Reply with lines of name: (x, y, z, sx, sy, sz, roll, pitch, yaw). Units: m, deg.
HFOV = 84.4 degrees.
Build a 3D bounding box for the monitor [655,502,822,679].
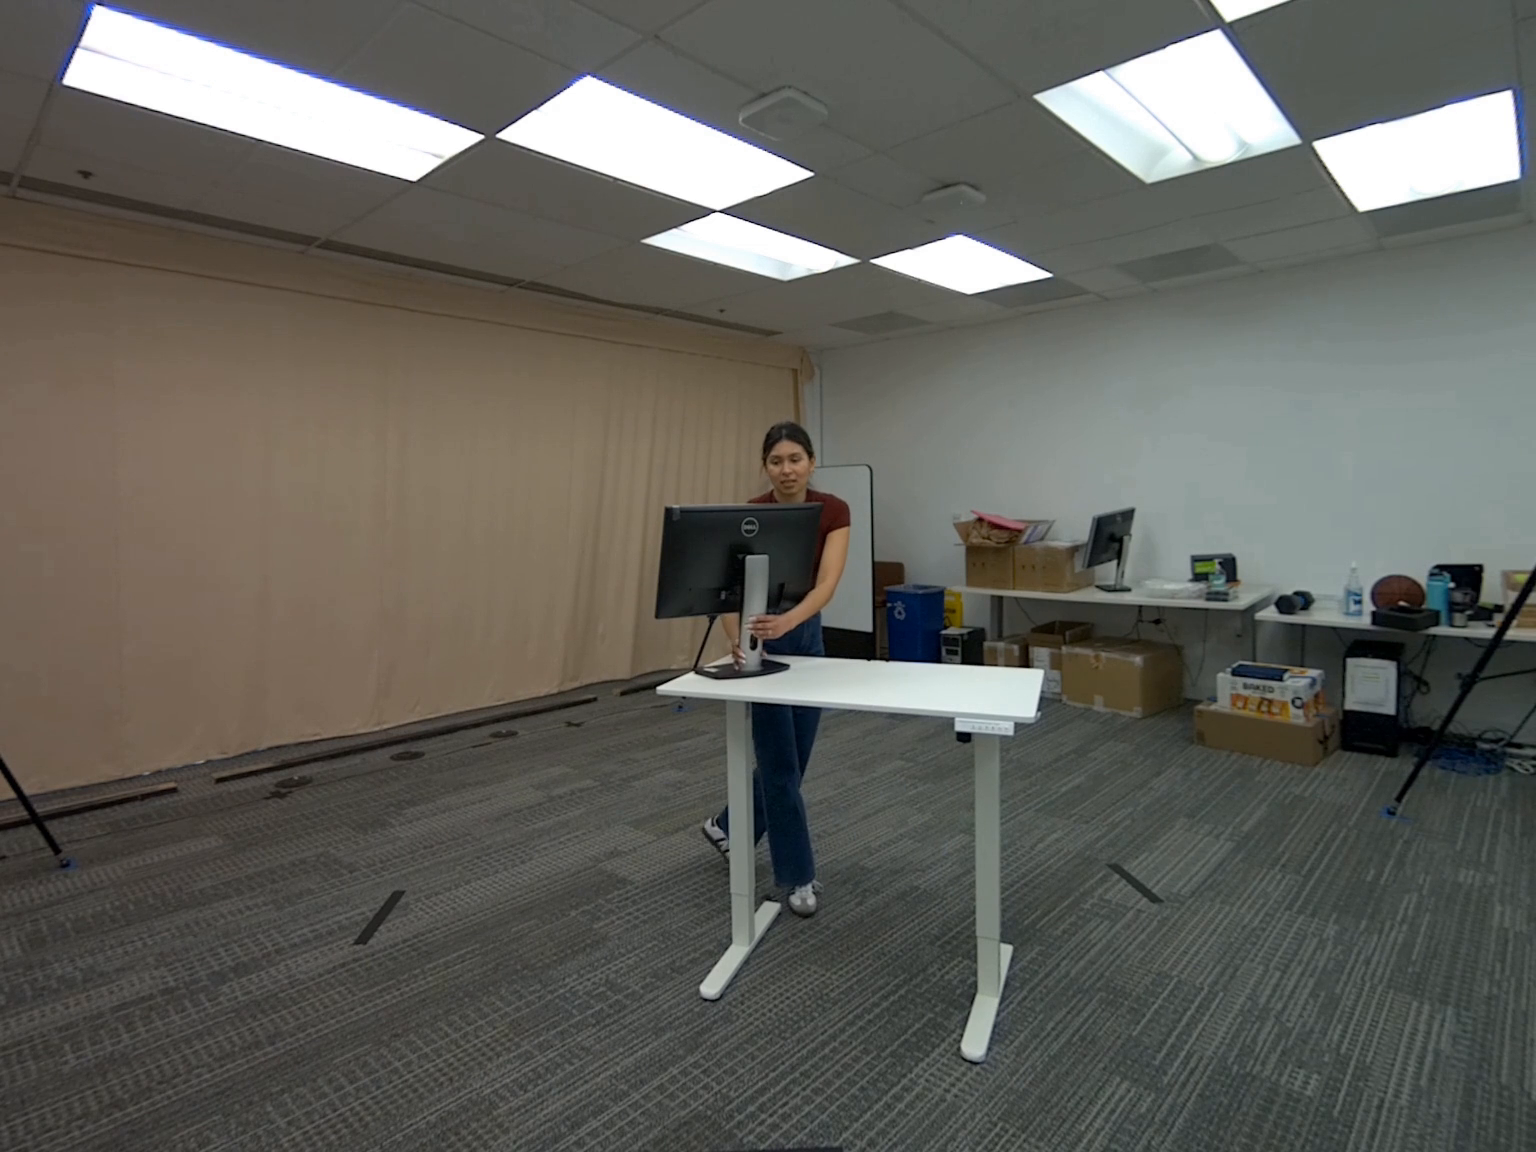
monitor: (-0.073, 0.042, 2.571, 0.525, 0.520, 0.193, -4, 8, -29)
